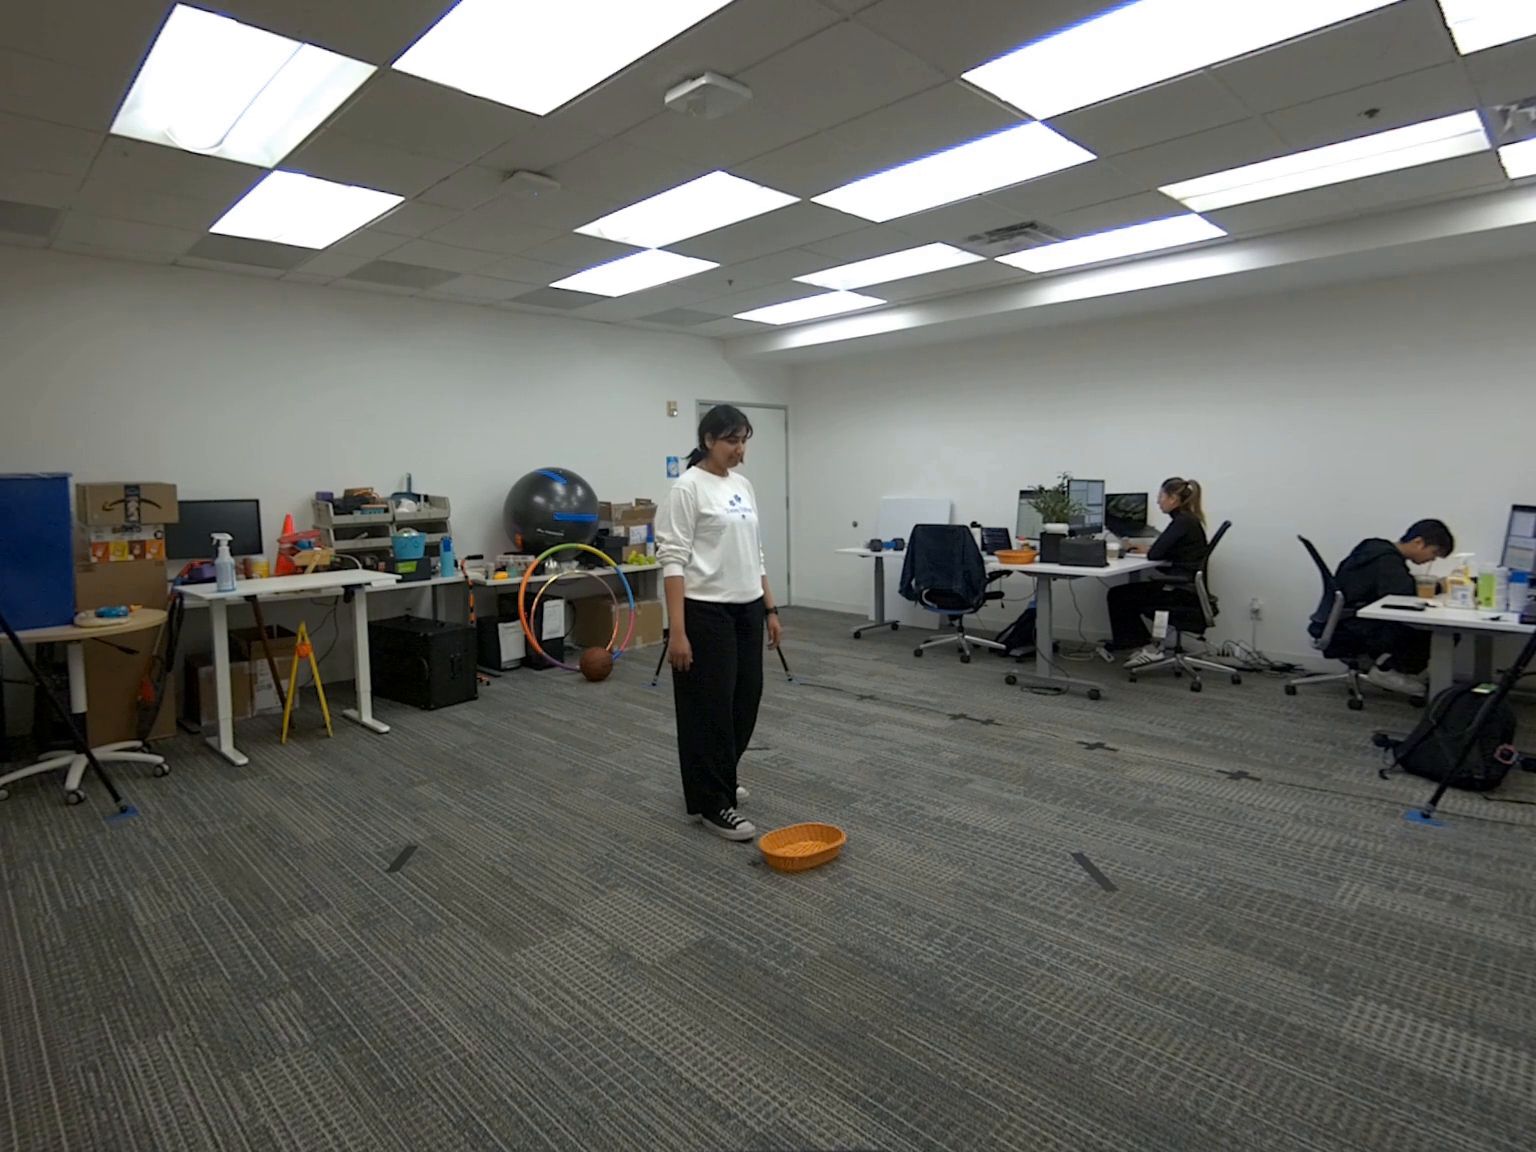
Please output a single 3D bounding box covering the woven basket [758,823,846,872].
[{"bbox_3d":[0.124,0.996,3.157,0.342,0.073,0.259,-5,6,-33],"label":"woven basket"}]
